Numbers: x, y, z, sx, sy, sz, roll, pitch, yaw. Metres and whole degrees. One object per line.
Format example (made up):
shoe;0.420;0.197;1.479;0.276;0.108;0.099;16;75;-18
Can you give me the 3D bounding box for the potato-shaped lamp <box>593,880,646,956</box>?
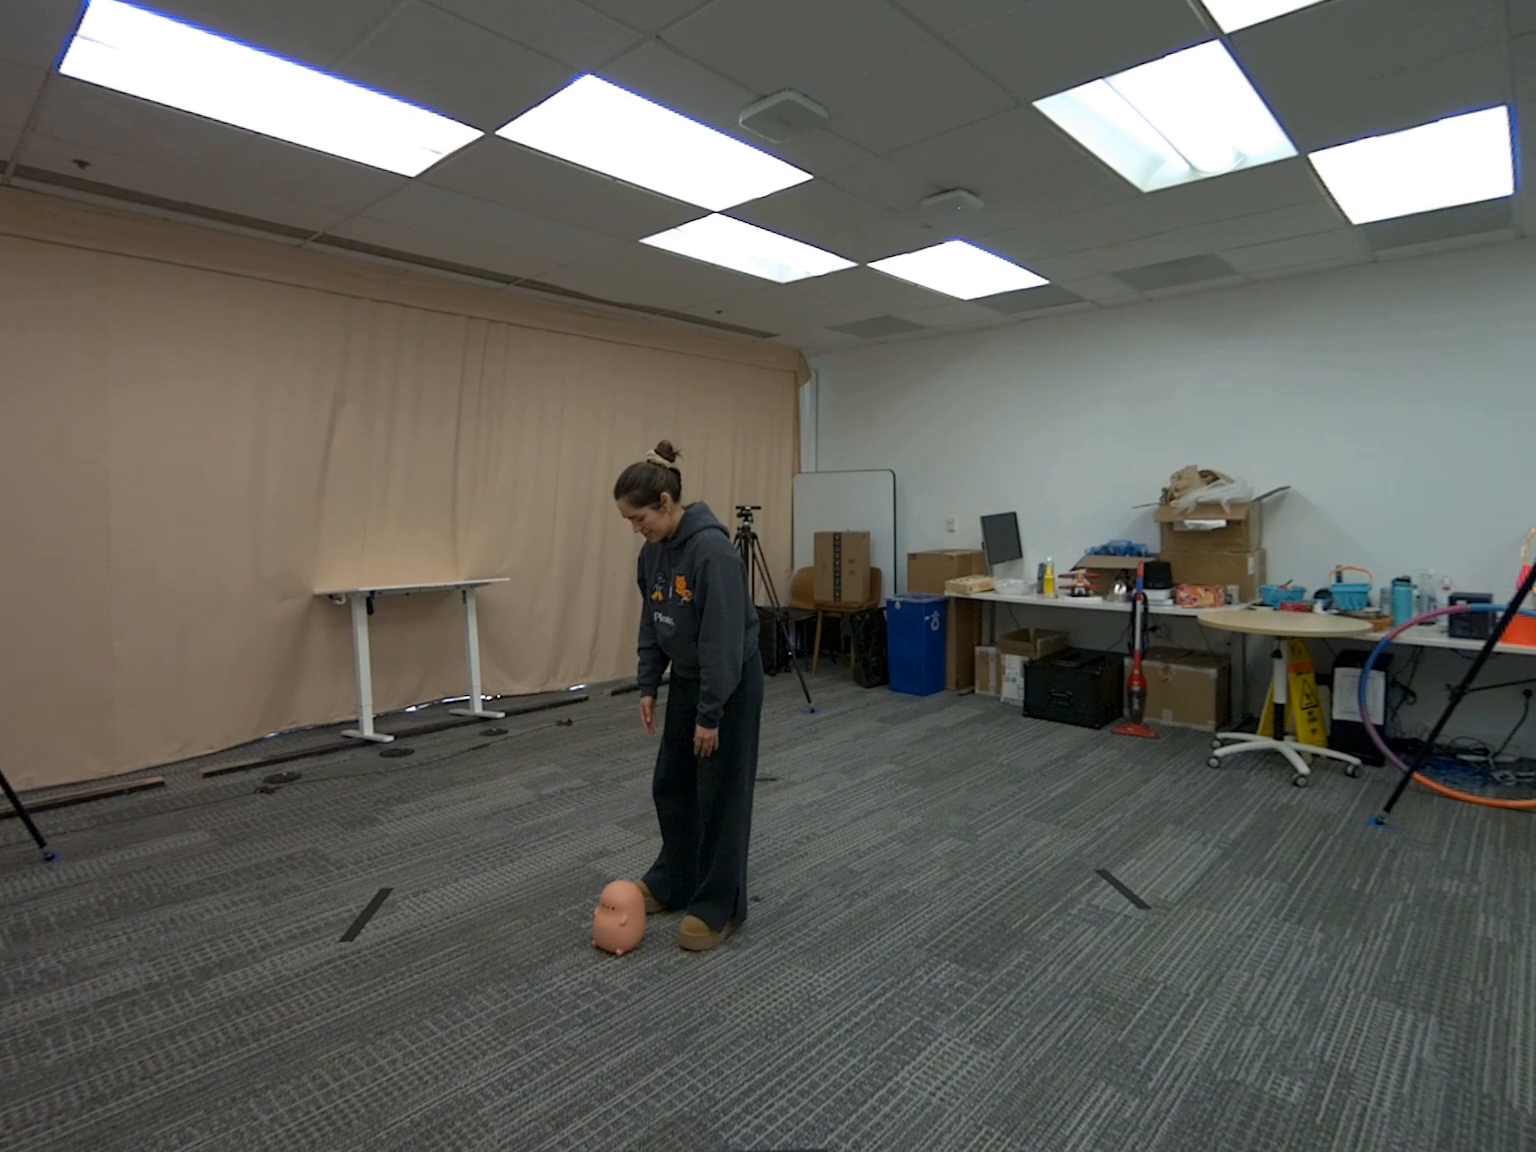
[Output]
potato-shaped lamp;-0.453;1.080;2.671;0.170;0.198;0.166;0;0;38
